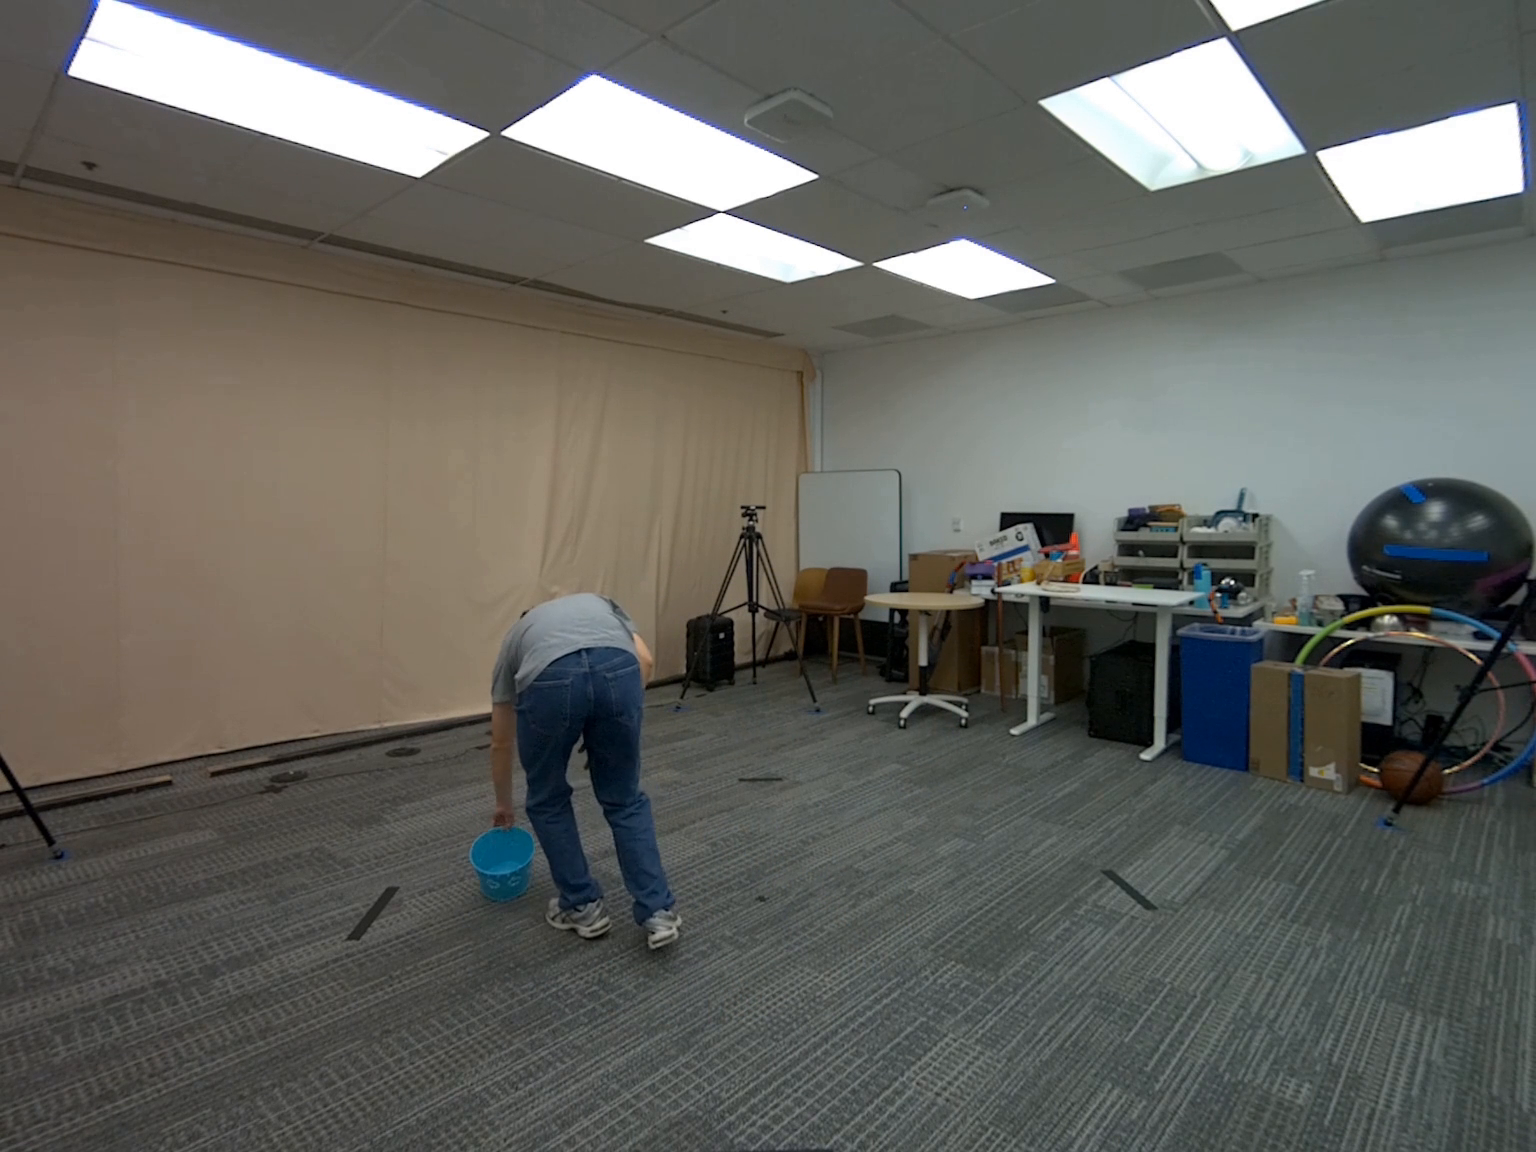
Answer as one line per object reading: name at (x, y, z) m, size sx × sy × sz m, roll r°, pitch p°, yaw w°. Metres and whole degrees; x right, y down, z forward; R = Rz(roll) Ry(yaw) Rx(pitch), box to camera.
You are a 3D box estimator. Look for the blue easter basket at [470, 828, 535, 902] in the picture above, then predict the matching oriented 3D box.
blue easter basket at (-0.947, 1.048, 3.027) m, size 0.243 × 0.154 × 0.247 m, roll 2°, pitch 24°, yaw -3°
